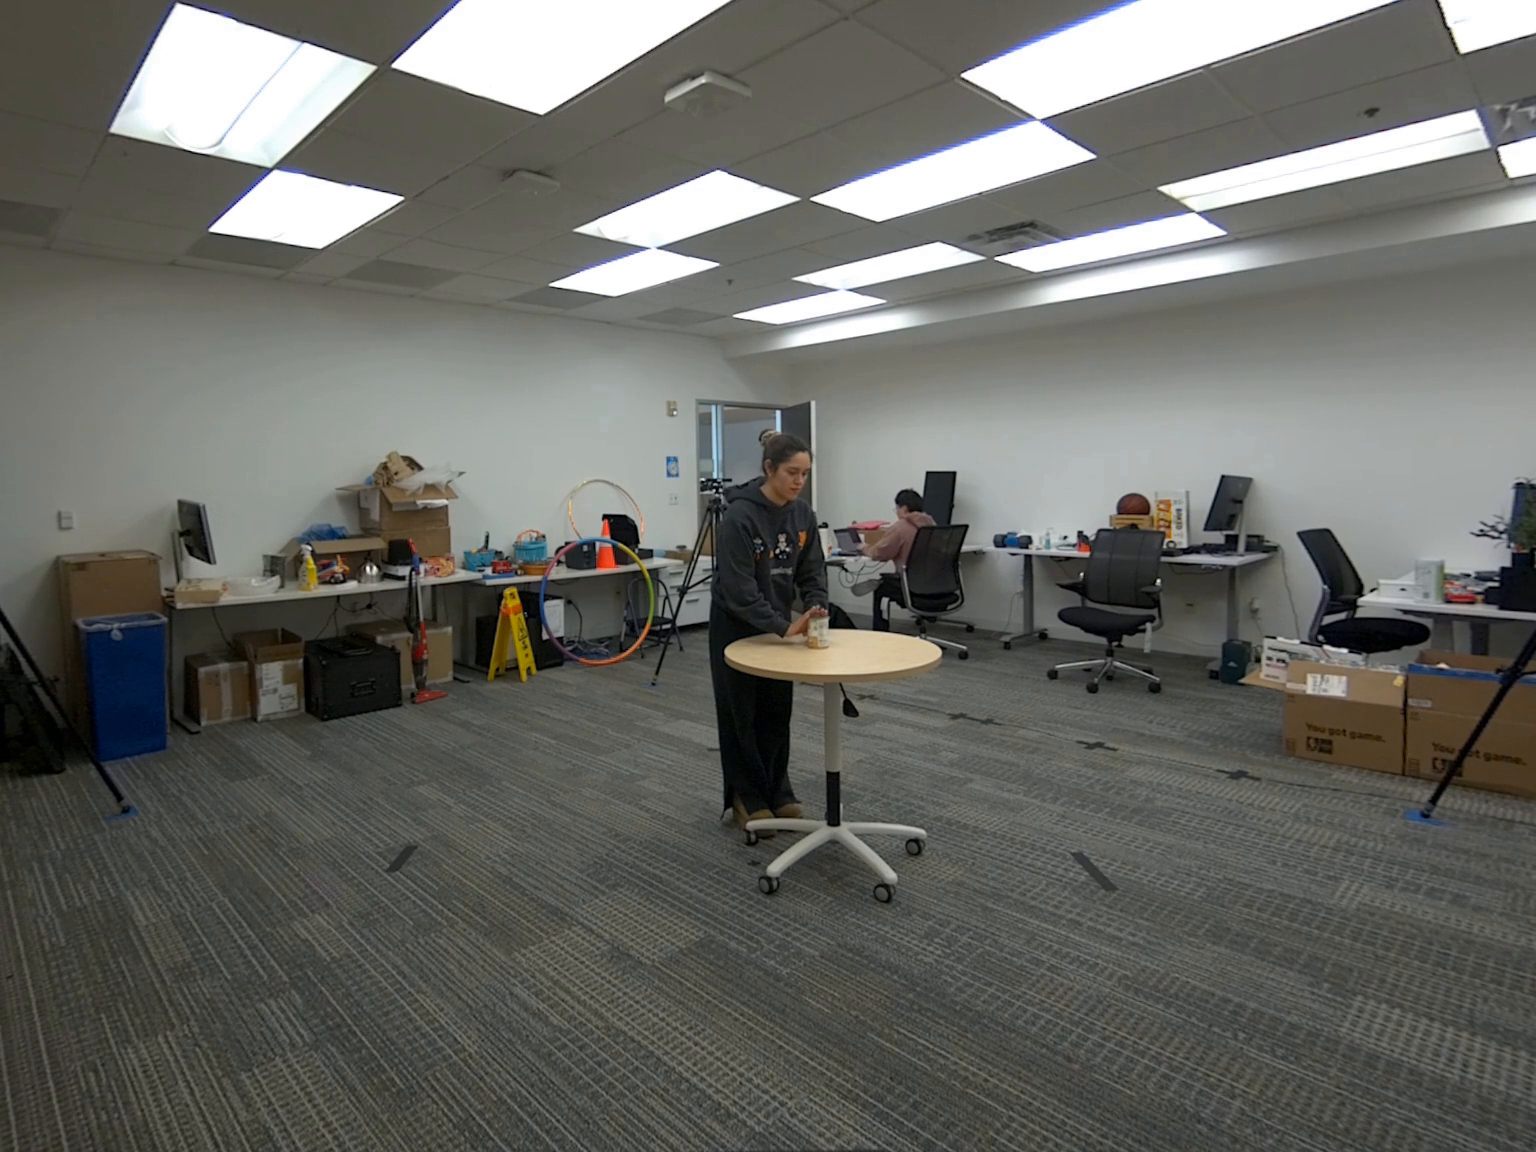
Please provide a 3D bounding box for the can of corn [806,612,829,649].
[{"bbox_3d":[0.177,0.206,3.081,0.074,0.111,0.074,0,3,-2],"label":"can of corn"}]
